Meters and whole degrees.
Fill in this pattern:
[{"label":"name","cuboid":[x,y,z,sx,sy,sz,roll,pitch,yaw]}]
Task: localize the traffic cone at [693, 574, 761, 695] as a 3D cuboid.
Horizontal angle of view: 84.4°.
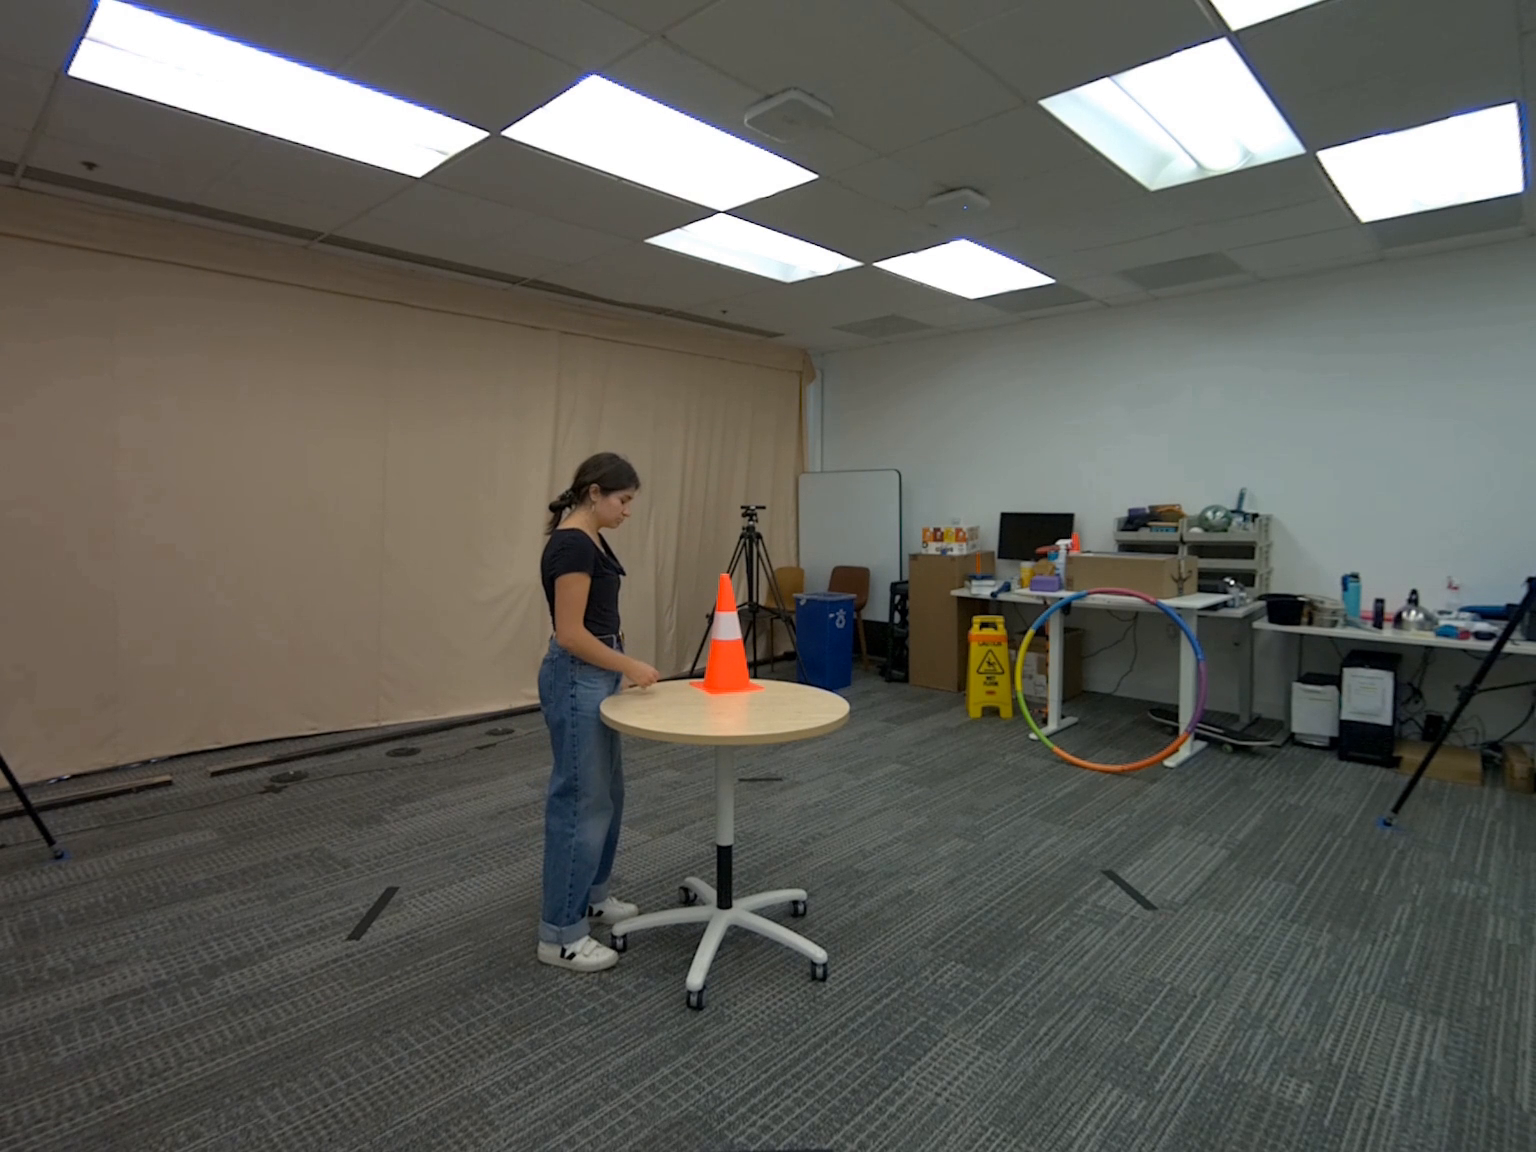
[{"label":"traffic cone","cuboid":[-0.137,0.192,2.836,0.200,0.383,0.208,-3,3,-24]}]
